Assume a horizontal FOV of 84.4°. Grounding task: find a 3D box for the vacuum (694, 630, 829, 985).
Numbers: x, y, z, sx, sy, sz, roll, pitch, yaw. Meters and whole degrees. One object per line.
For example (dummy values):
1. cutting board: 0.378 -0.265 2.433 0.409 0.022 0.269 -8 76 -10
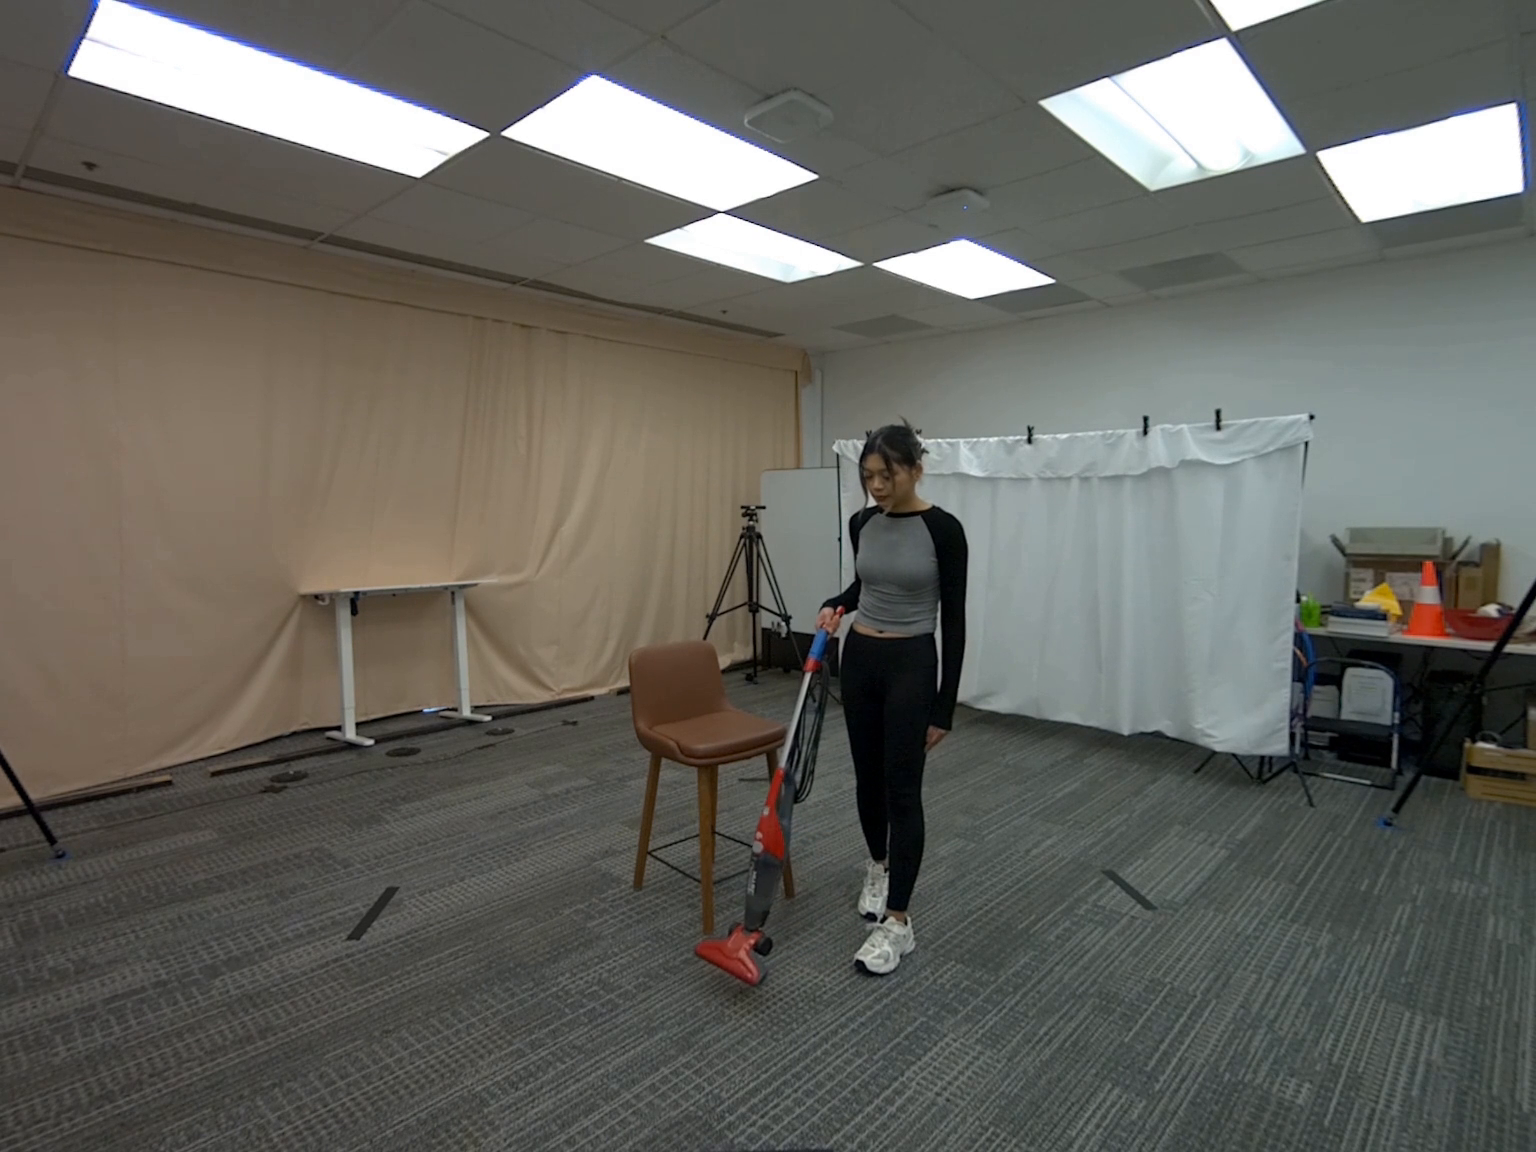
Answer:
1. vacuum: 0.073 0.607 2.532 0.261 1.054 0.139 0 -24 45
